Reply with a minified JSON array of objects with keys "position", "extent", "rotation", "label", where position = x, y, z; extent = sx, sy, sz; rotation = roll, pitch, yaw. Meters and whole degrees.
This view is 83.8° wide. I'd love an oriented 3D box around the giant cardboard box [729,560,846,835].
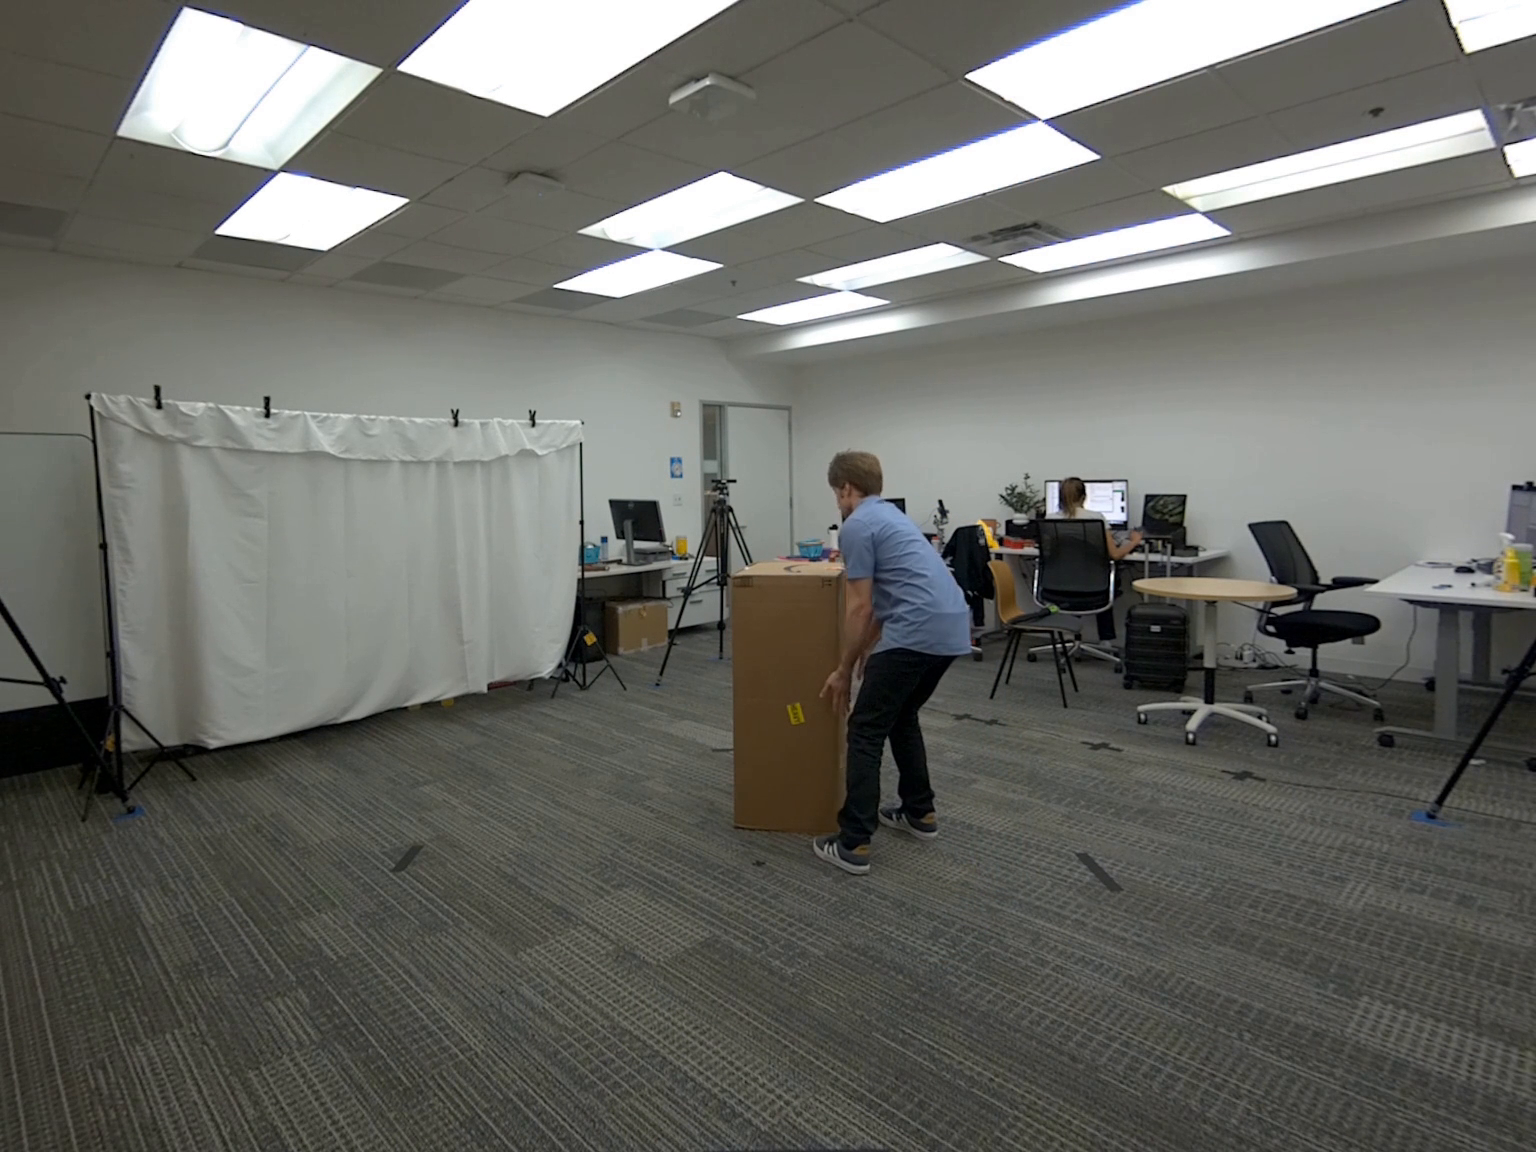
[{"position":[0.114,0.477,3.642],"extent":[0.432,1.023,0.571],"rotation":[0,3,13],"label":"giant cardboard box"}]
